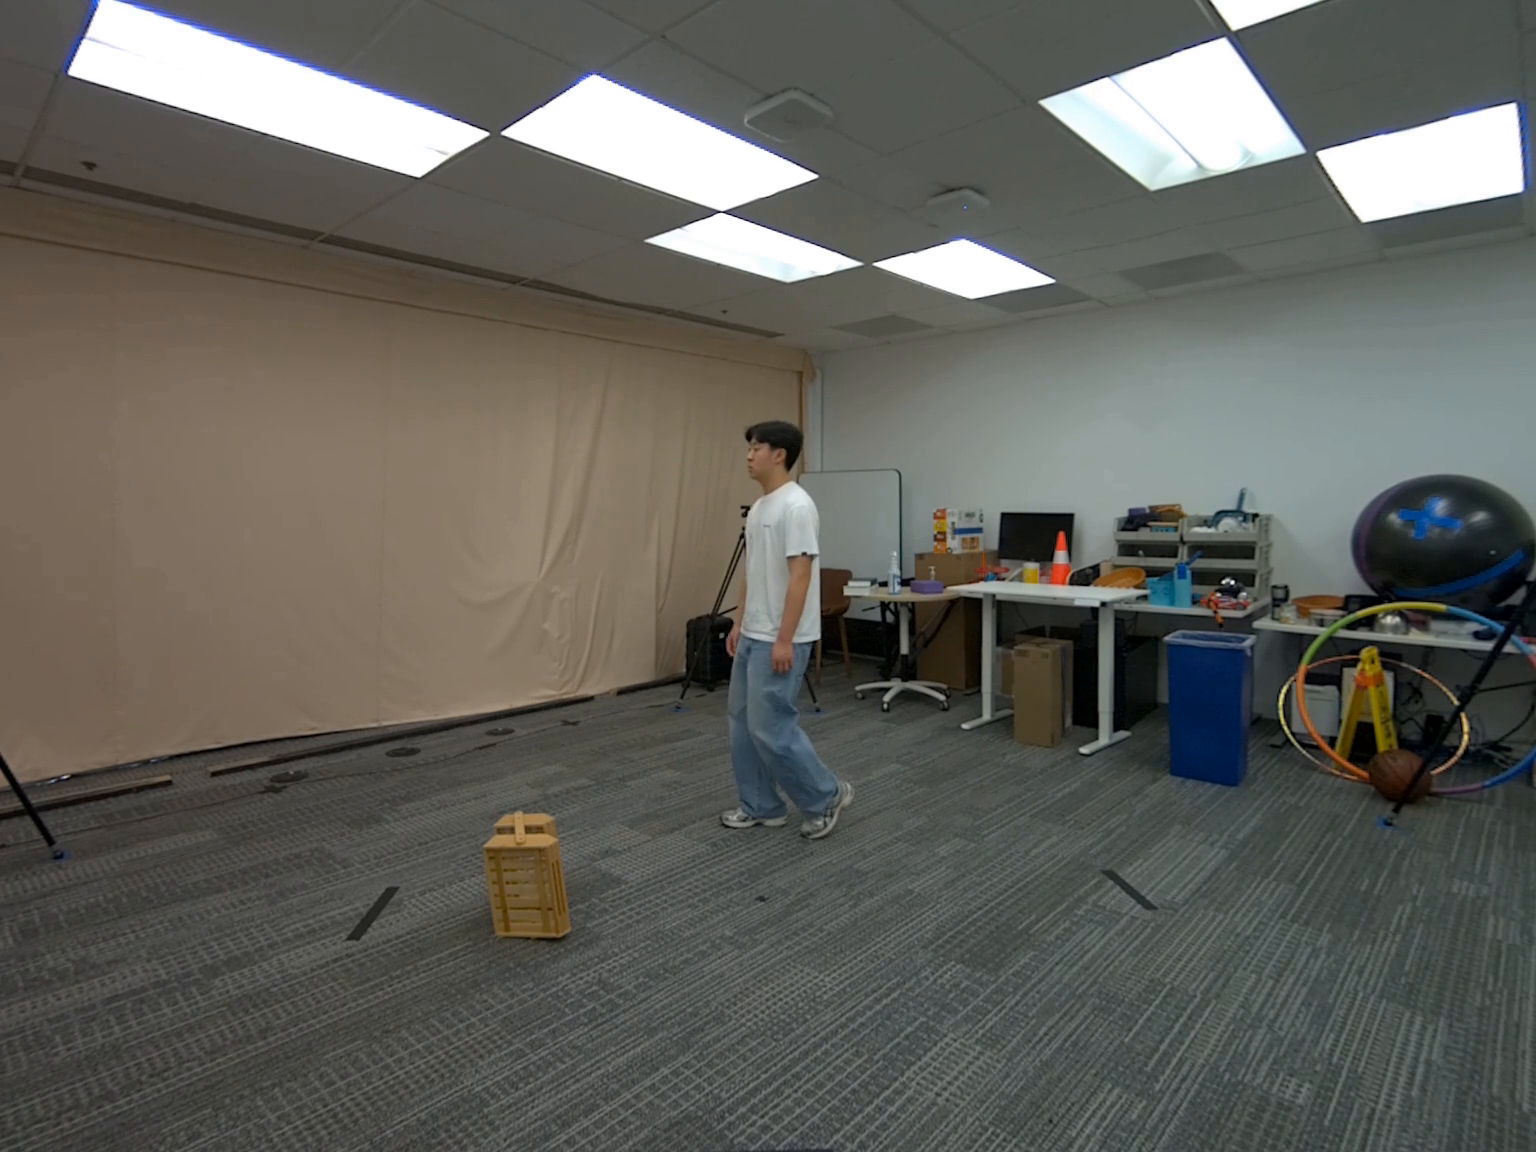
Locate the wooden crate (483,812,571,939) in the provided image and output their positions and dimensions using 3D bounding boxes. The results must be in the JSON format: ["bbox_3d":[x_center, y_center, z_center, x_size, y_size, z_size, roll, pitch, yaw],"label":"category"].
[{"bbox_3d":[-0.783,0.995,2.829,0.306,0.323,0.270,-5,5,13],"label":"wooden crate"}]
